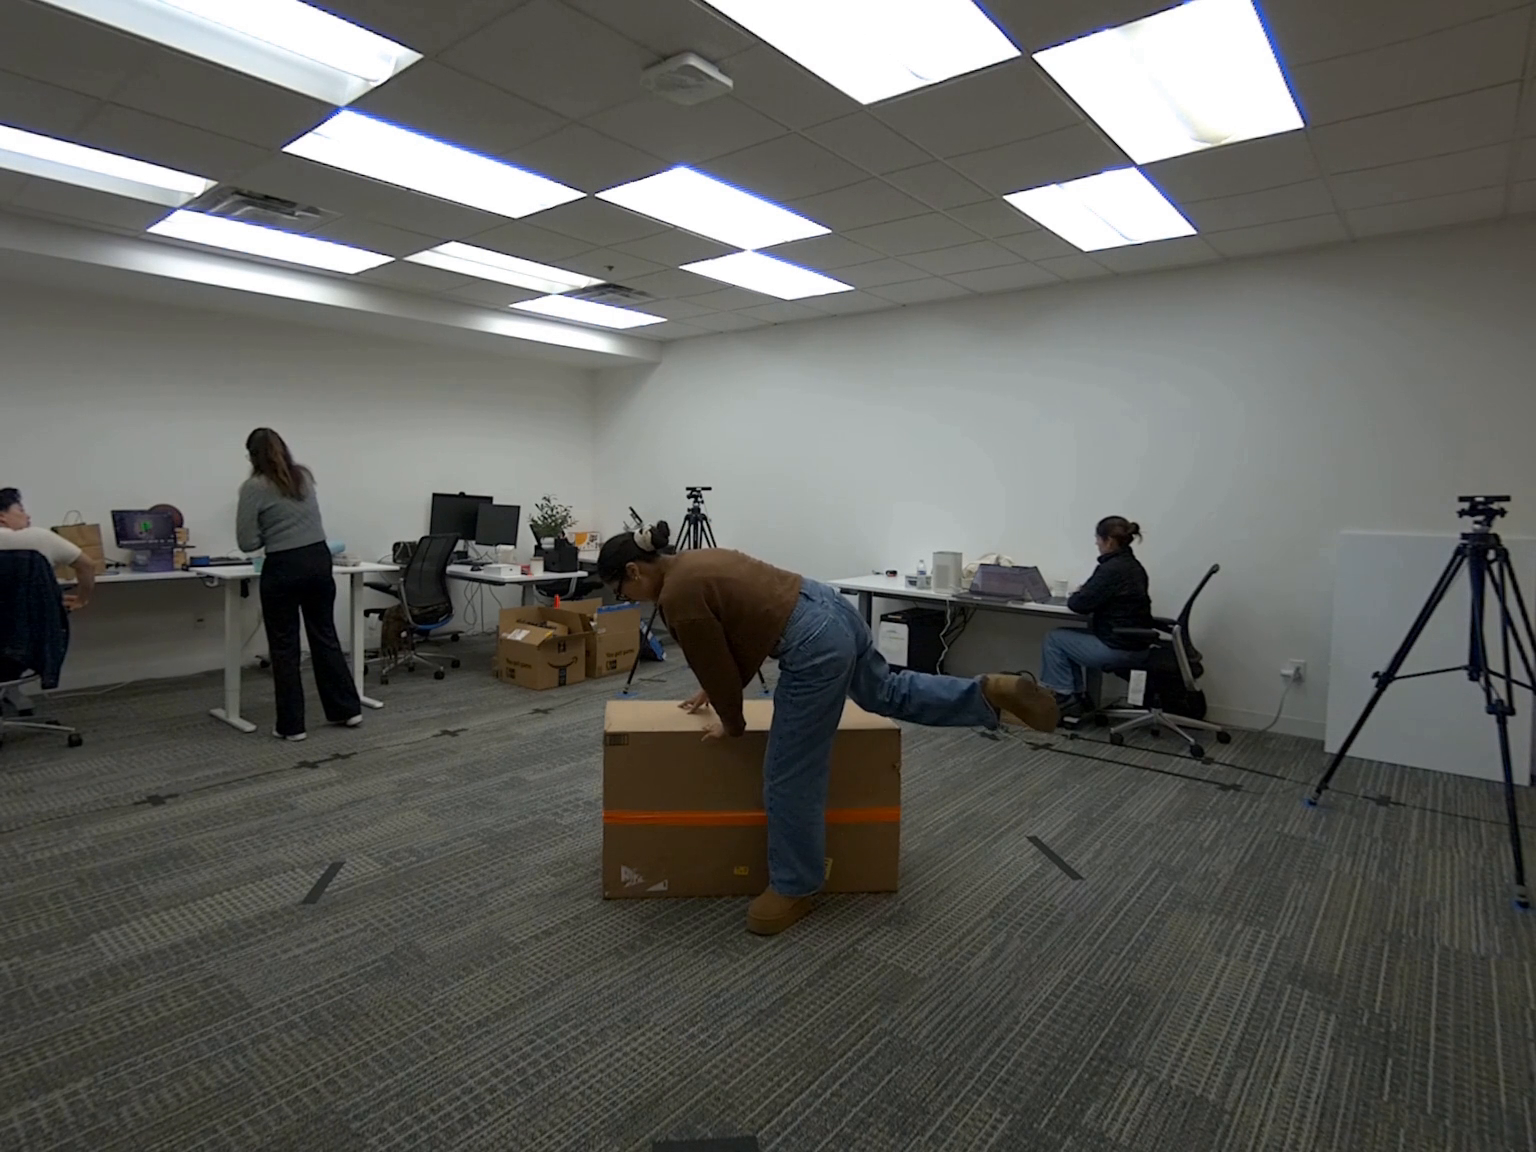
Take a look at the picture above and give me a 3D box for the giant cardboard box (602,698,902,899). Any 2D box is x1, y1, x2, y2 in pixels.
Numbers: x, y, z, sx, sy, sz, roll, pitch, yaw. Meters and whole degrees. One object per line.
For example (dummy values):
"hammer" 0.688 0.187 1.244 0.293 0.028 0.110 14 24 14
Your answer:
"giant cardboard box" -0.087 0.783 3.095 1.021 0.582 0.451 0 3 -6
